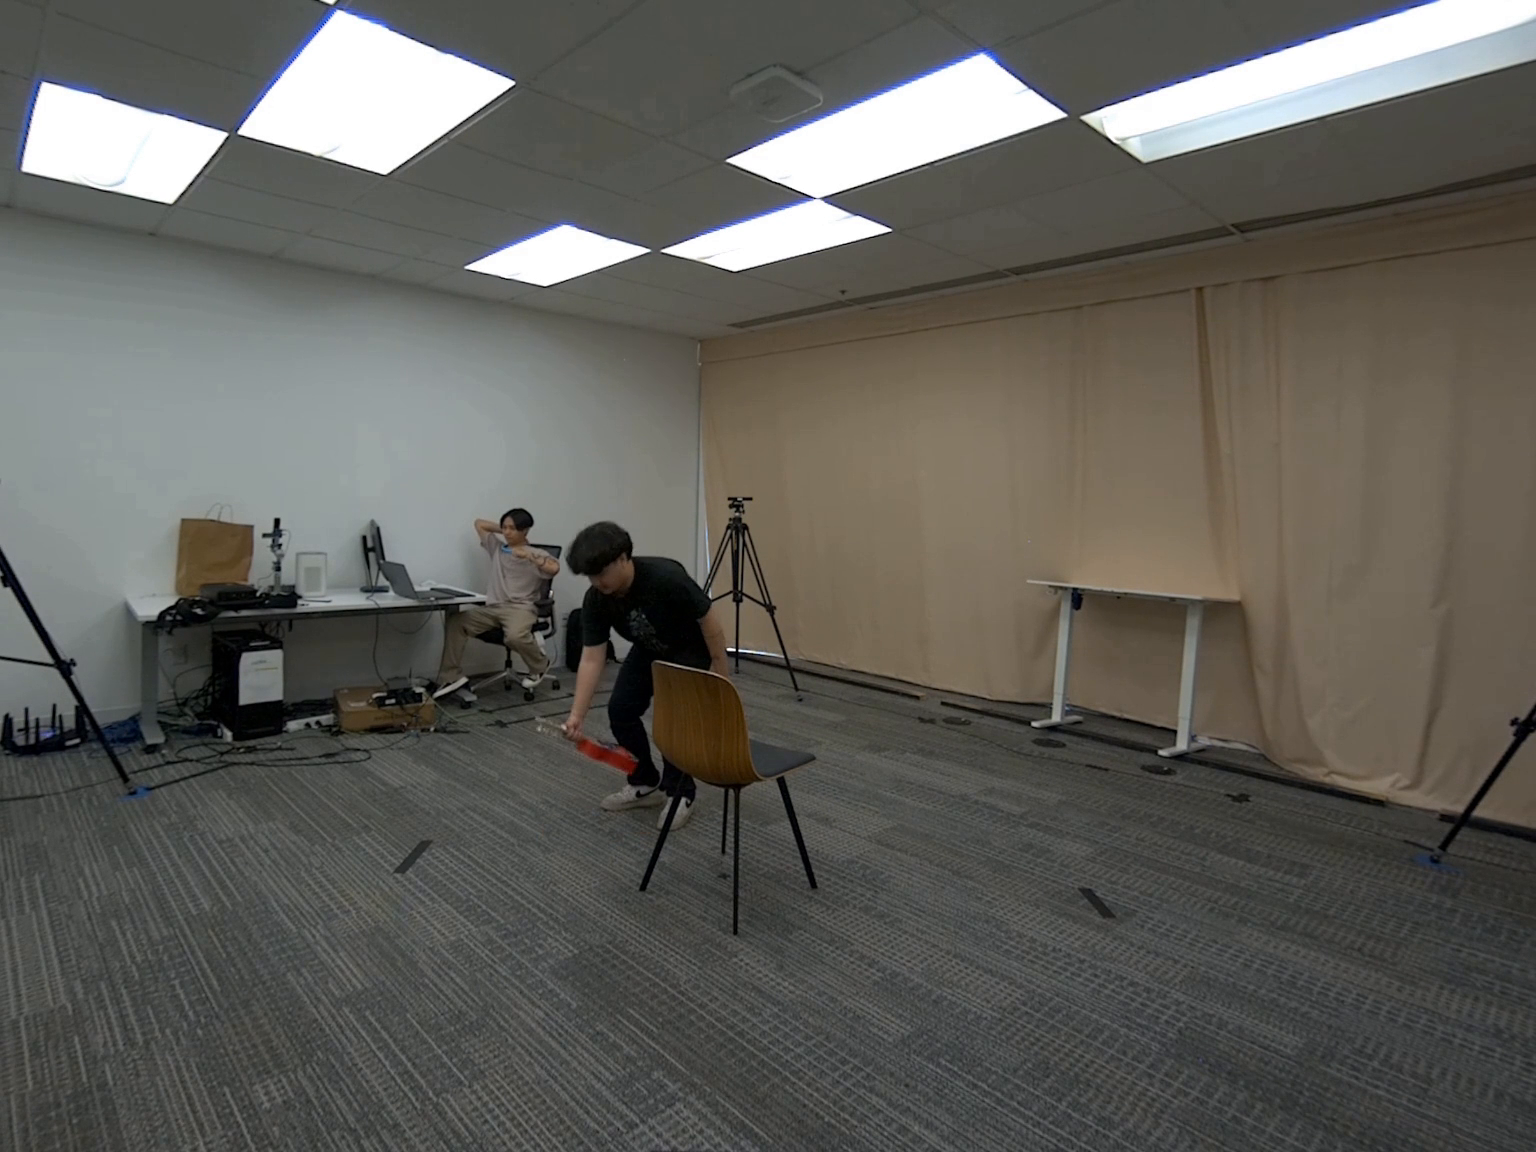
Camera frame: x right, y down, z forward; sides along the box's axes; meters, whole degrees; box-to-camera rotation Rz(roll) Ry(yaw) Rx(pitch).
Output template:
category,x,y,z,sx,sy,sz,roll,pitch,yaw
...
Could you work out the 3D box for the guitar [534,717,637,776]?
category,x,y,z,sx,sy,sz,roll,pitch,yaw
guitar,-0.773,0.673,3.468,0.486,0.071,0.197,28,-7,-26
